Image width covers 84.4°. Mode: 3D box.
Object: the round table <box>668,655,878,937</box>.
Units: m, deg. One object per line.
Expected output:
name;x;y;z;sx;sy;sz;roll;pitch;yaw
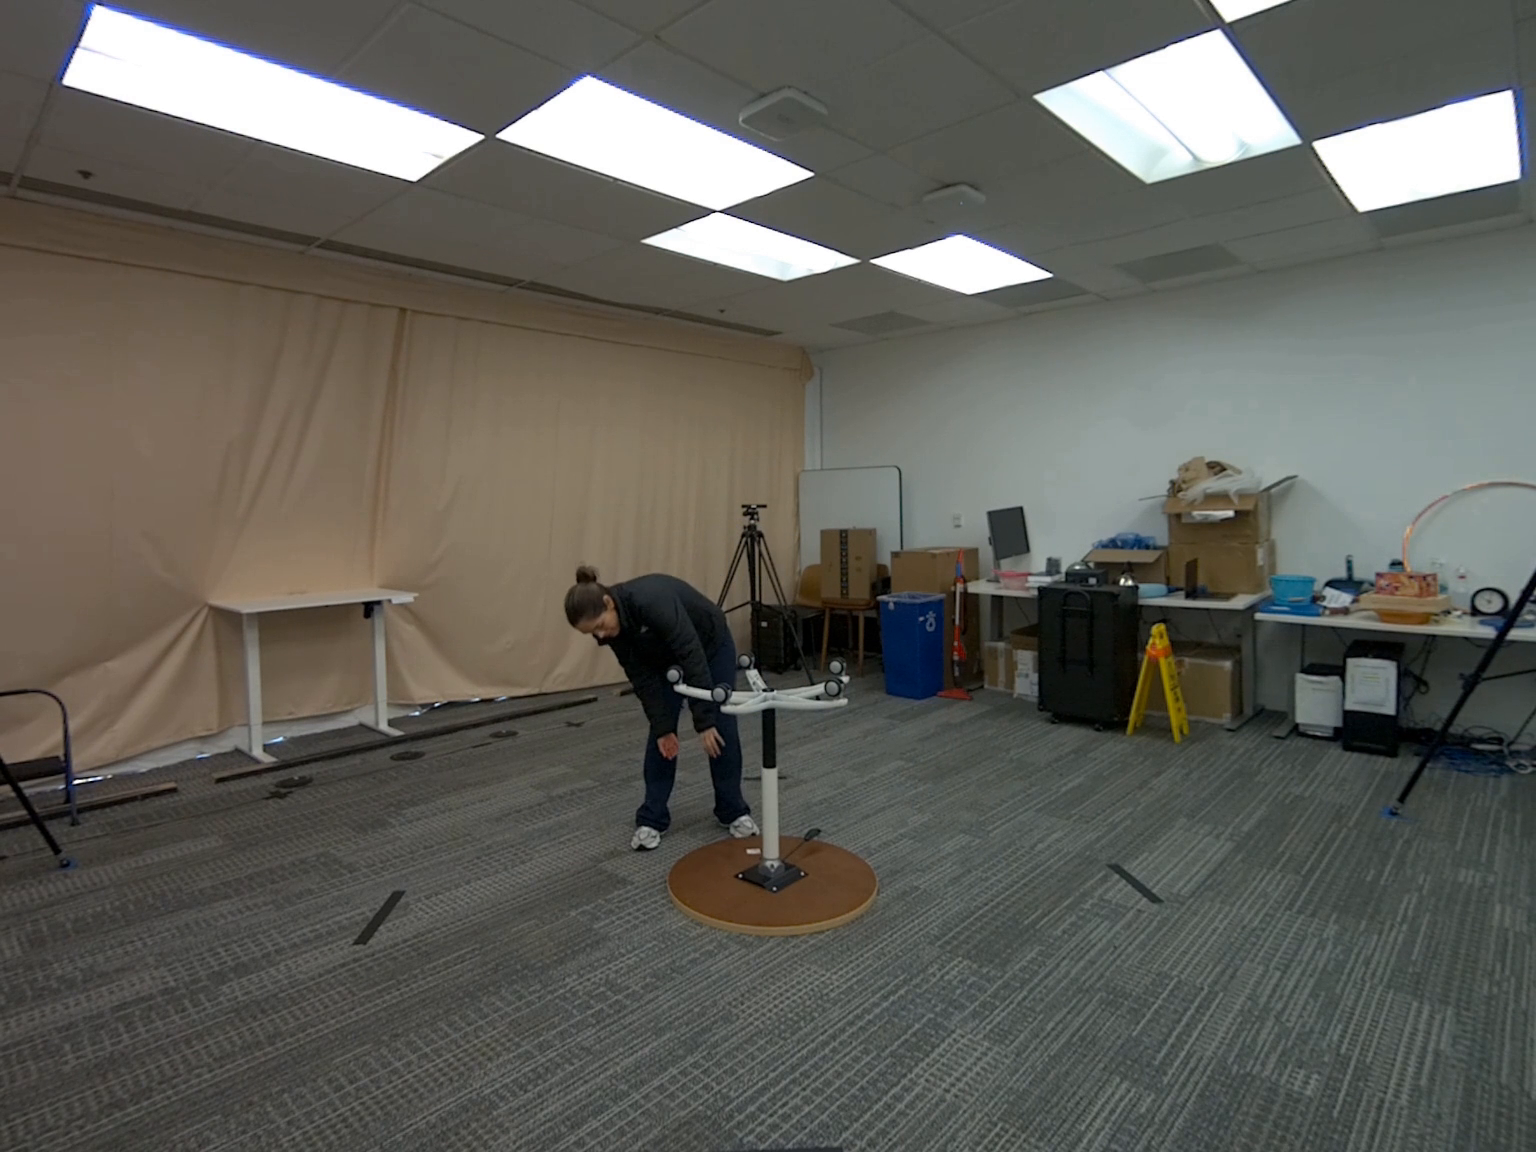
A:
round table;0.033;0.730;3.078;0.784;0.784;0.788;-2;5;-2
